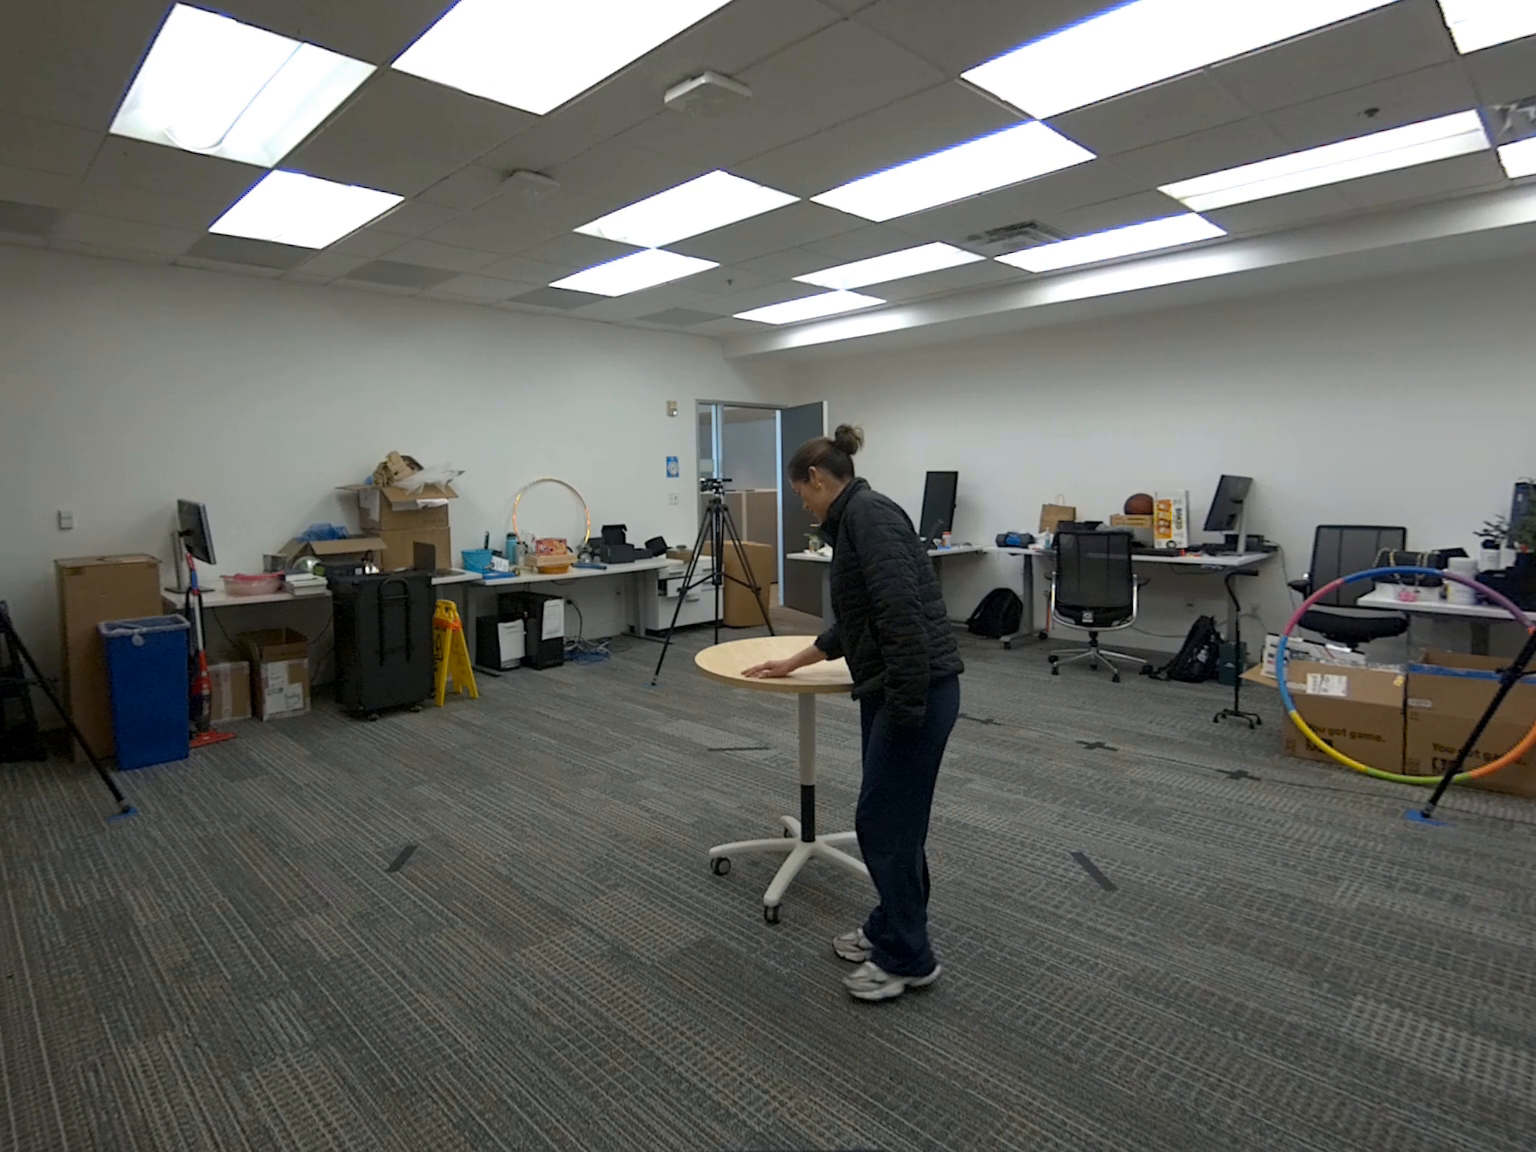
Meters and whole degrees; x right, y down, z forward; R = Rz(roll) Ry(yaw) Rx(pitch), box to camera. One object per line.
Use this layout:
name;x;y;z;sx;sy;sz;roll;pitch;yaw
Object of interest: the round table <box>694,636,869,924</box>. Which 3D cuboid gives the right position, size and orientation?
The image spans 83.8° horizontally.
round table;0.128;0.664;2.955;0.784;0.783;0.789;-1;5;-2
